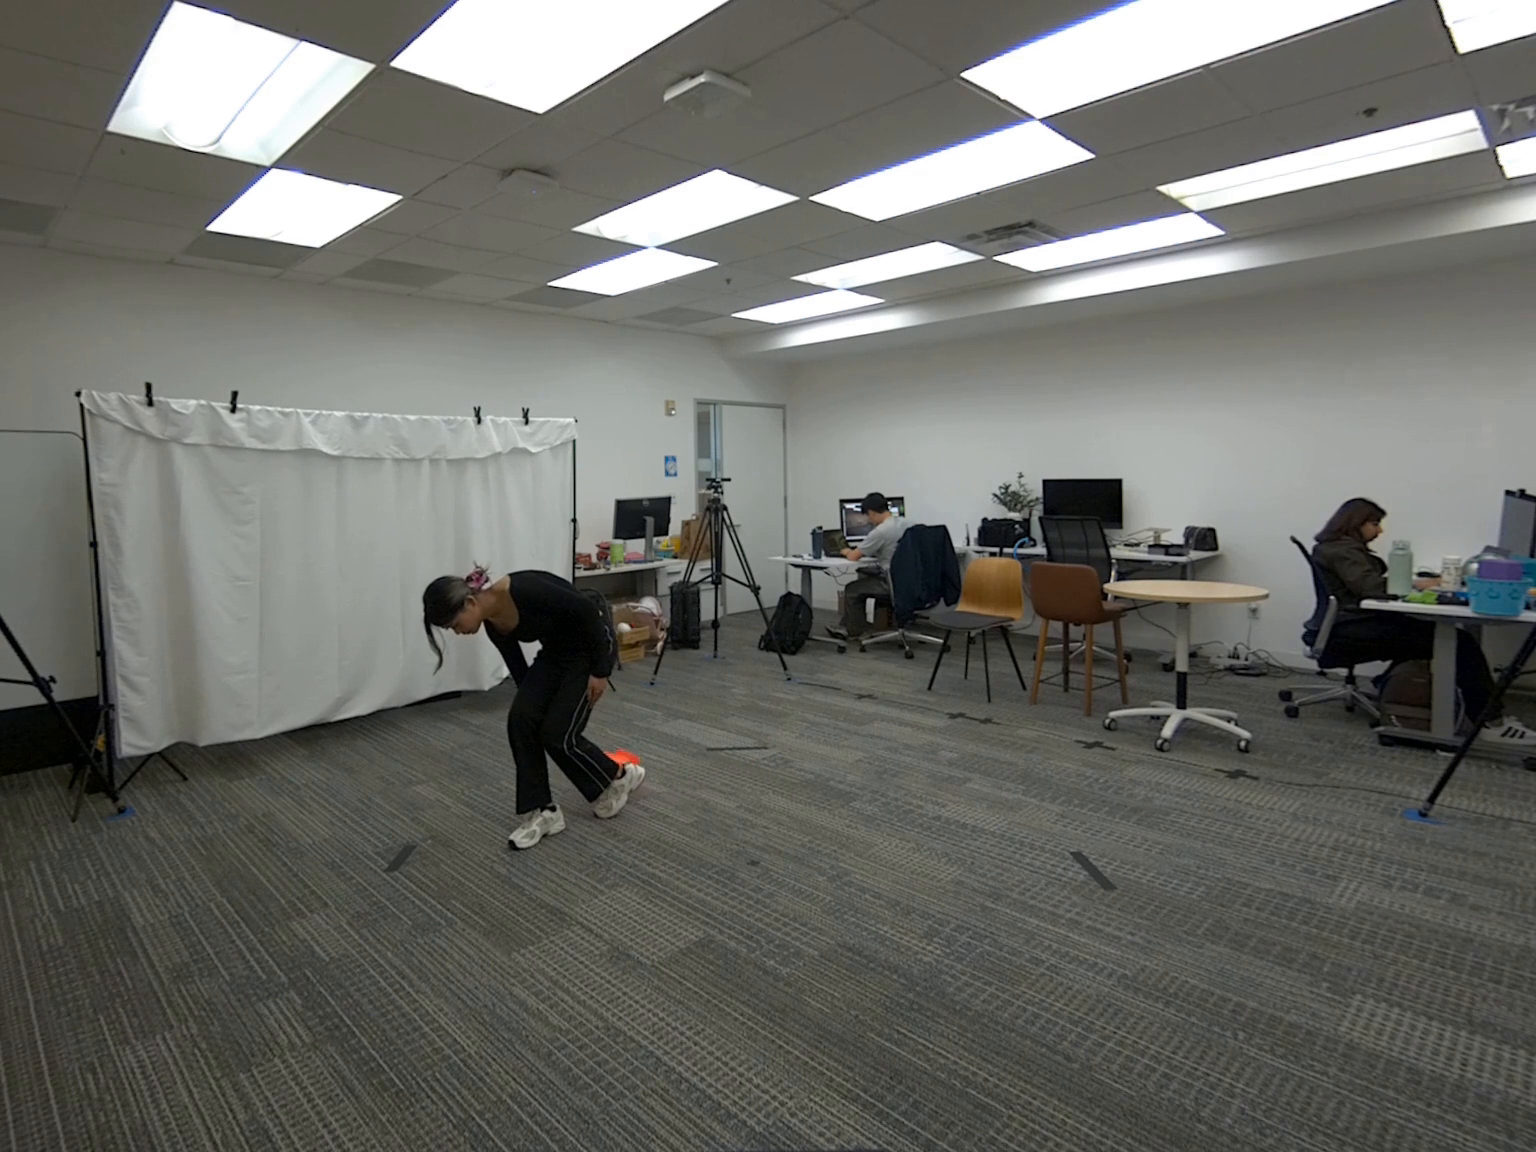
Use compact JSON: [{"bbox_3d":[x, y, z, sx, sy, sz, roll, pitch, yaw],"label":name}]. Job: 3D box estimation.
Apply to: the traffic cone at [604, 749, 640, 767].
[{"bbox_3d":[-0.786,0.806,3.740,0.370,0.203,0.212,34,-6,-33],"label":"traffic cone"}]
